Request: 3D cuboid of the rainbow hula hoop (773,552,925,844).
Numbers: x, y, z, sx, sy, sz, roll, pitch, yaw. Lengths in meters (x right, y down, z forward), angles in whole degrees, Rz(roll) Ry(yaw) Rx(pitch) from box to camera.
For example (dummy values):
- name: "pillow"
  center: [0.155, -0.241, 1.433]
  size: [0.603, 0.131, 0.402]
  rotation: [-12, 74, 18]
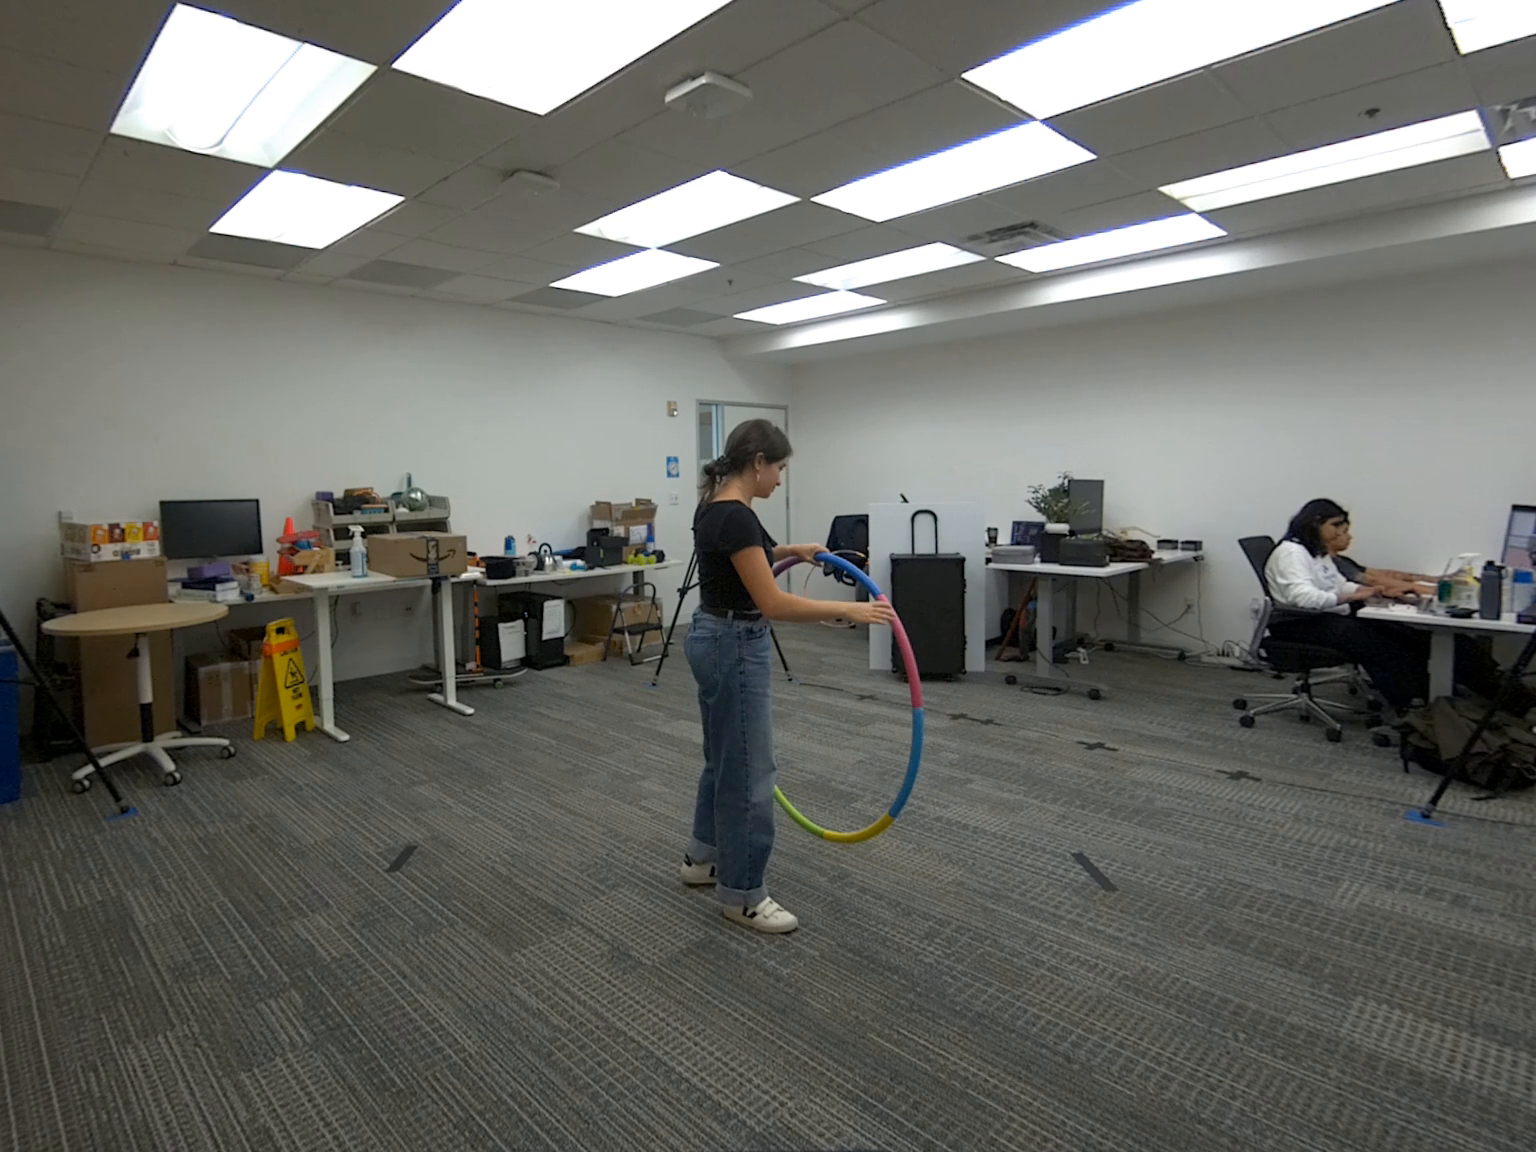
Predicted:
- name: "rainbow hula hoop"
  center: [0.163, 0.406, 2.969]
  size: [0.034, 0.976, 1.007]
  rotation: [-1, 4, -35]
